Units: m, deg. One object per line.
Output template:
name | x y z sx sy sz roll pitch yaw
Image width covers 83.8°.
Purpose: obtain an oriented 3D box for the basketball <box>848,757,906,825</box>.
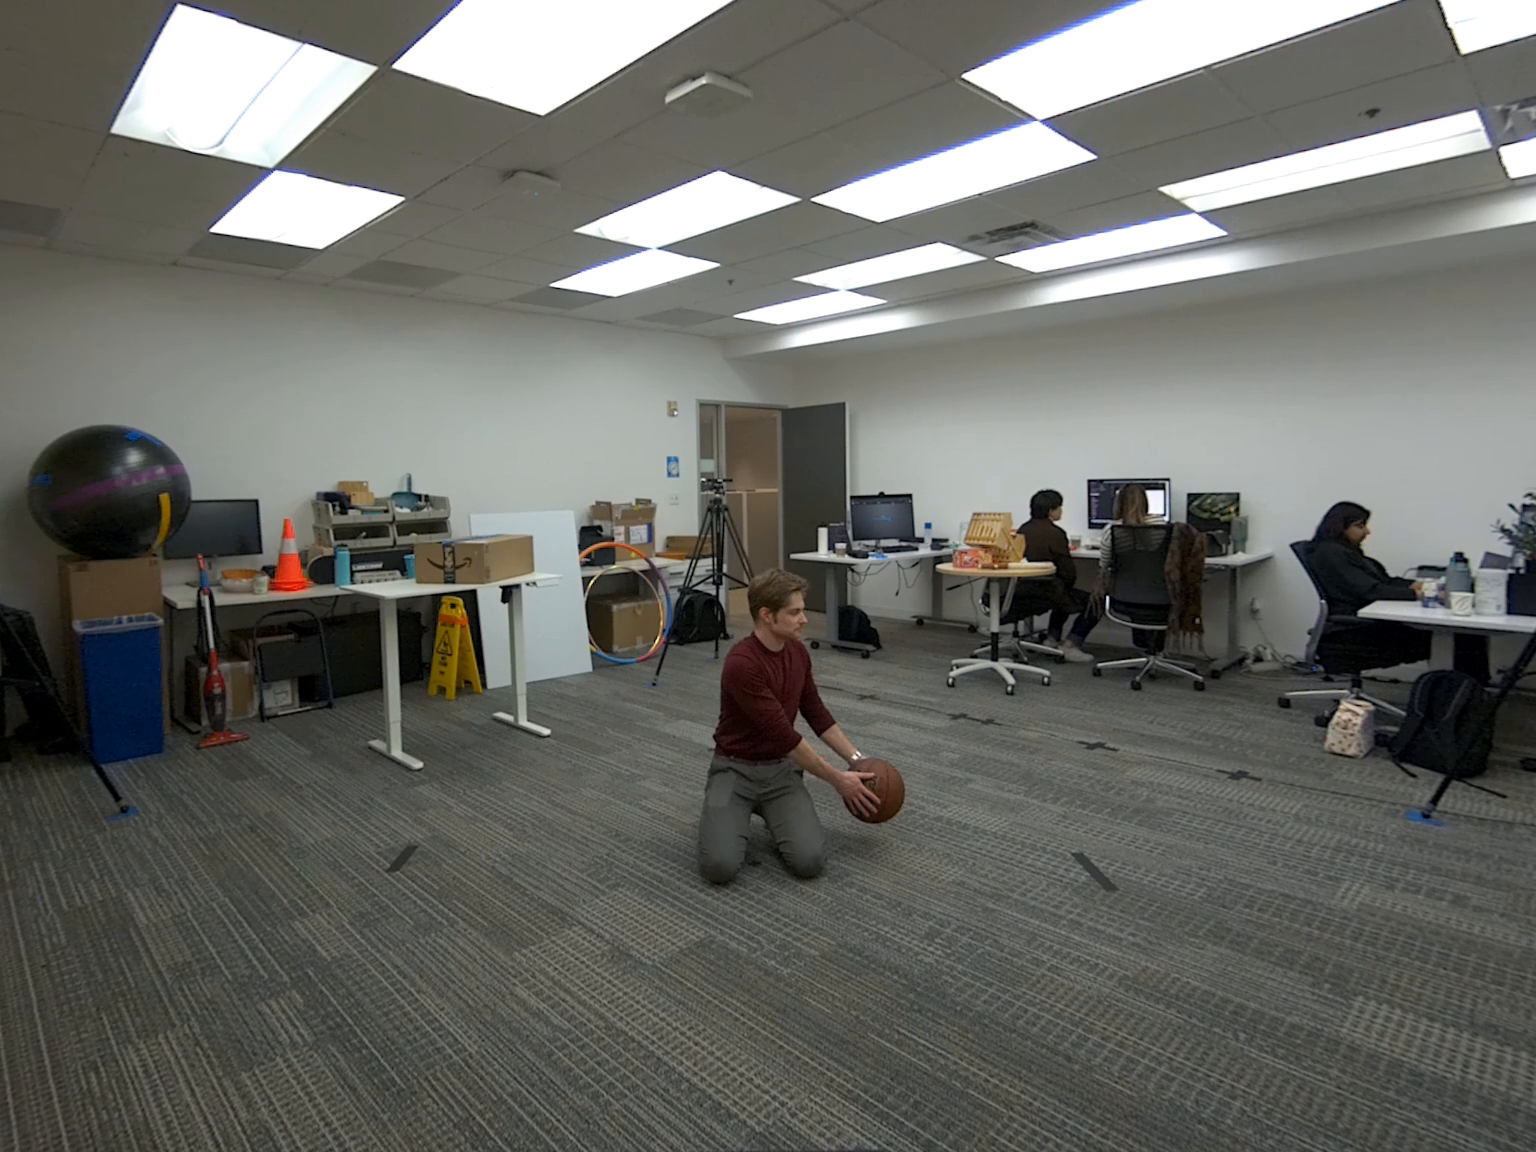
basketball | 0.394 0.803 3.223 0.236 0.235 0.237 -1 5 -2
